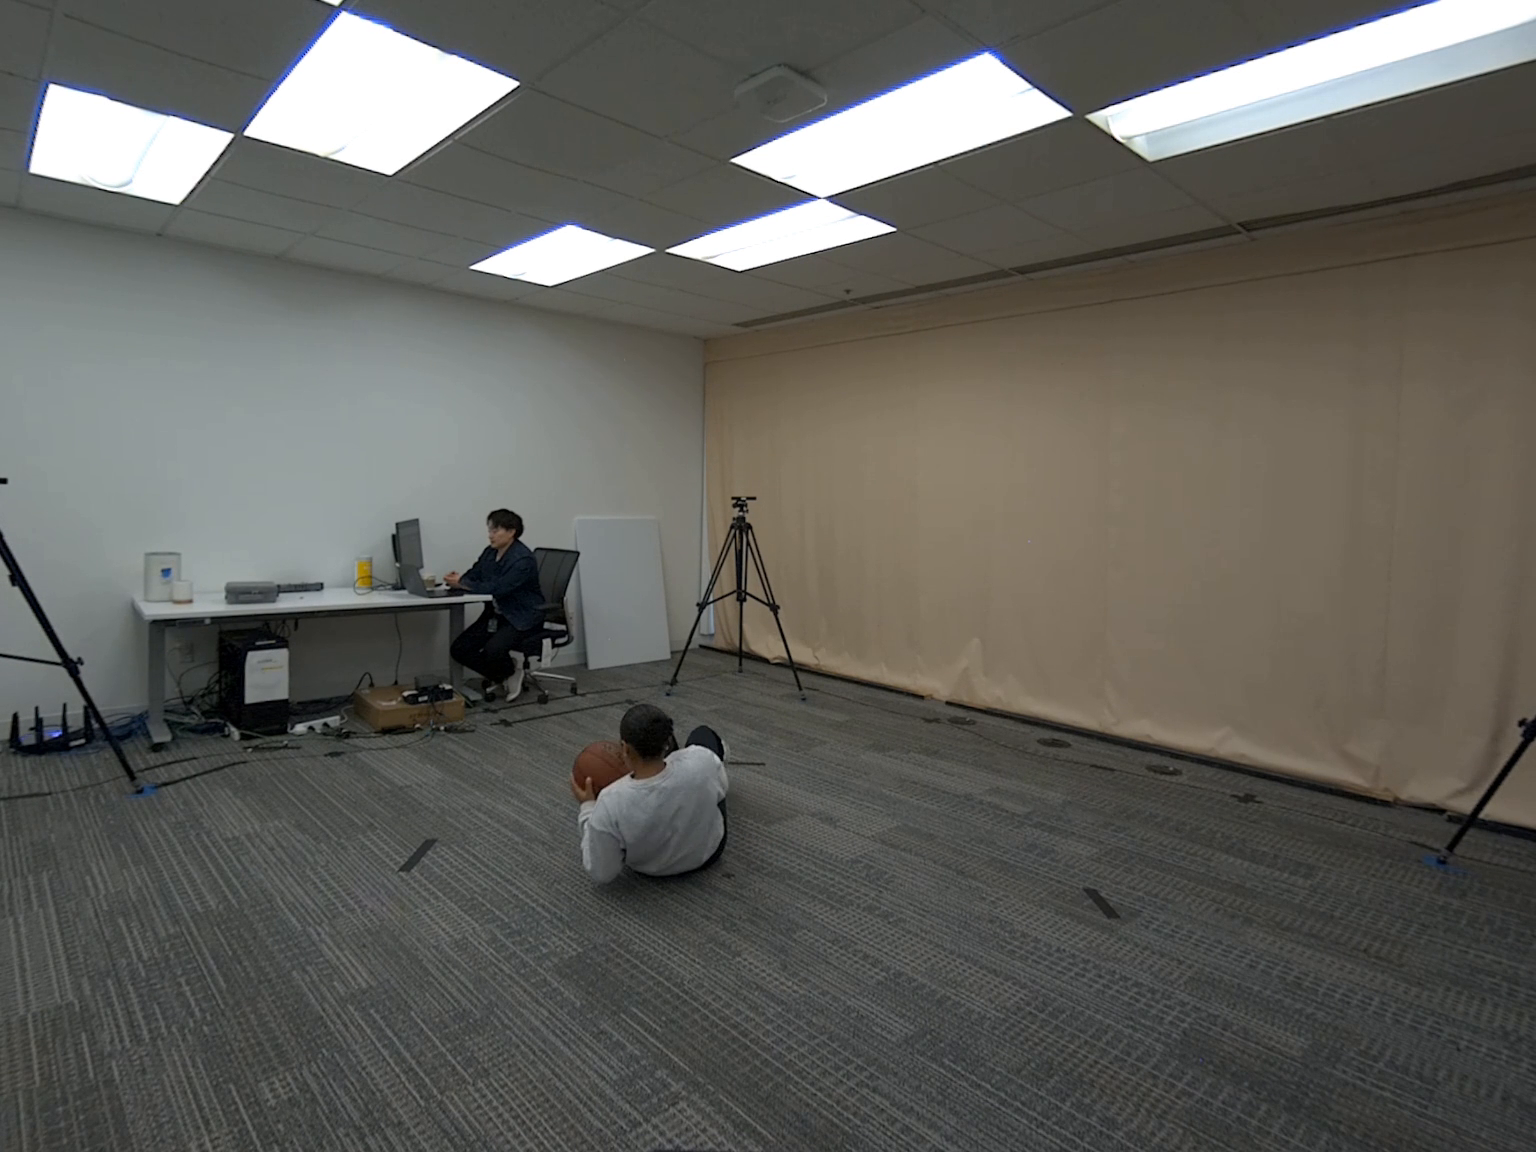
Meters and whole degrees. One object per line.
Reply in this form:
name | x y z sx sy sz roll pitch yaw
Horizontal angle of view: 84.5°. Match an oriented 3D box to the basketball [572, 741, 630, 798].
basketball | -0.614 0.748 3.202 0.236 0.235 0.237 1 4 -1
